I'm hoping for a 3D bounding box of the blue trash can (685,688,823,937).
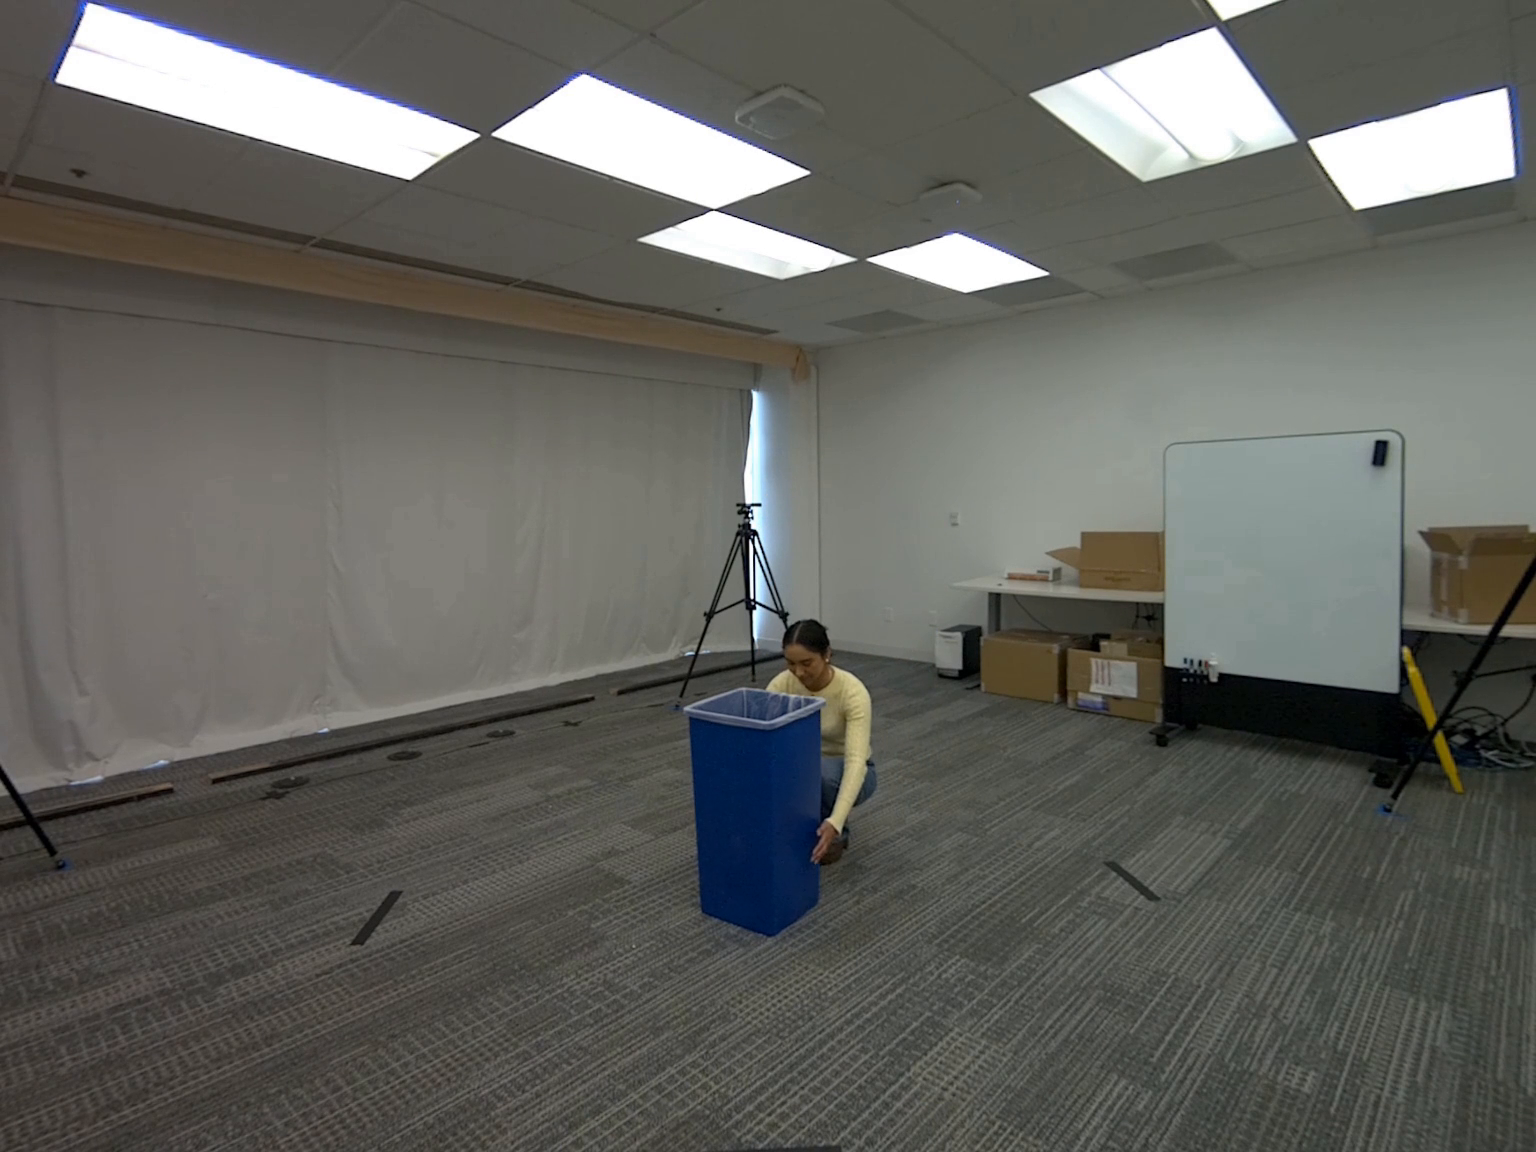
[{"bbox_3d":[-0.033,0.788,2.877,0.390,0.712,0.363,1,4,35],"label":"blue trash can"}]
